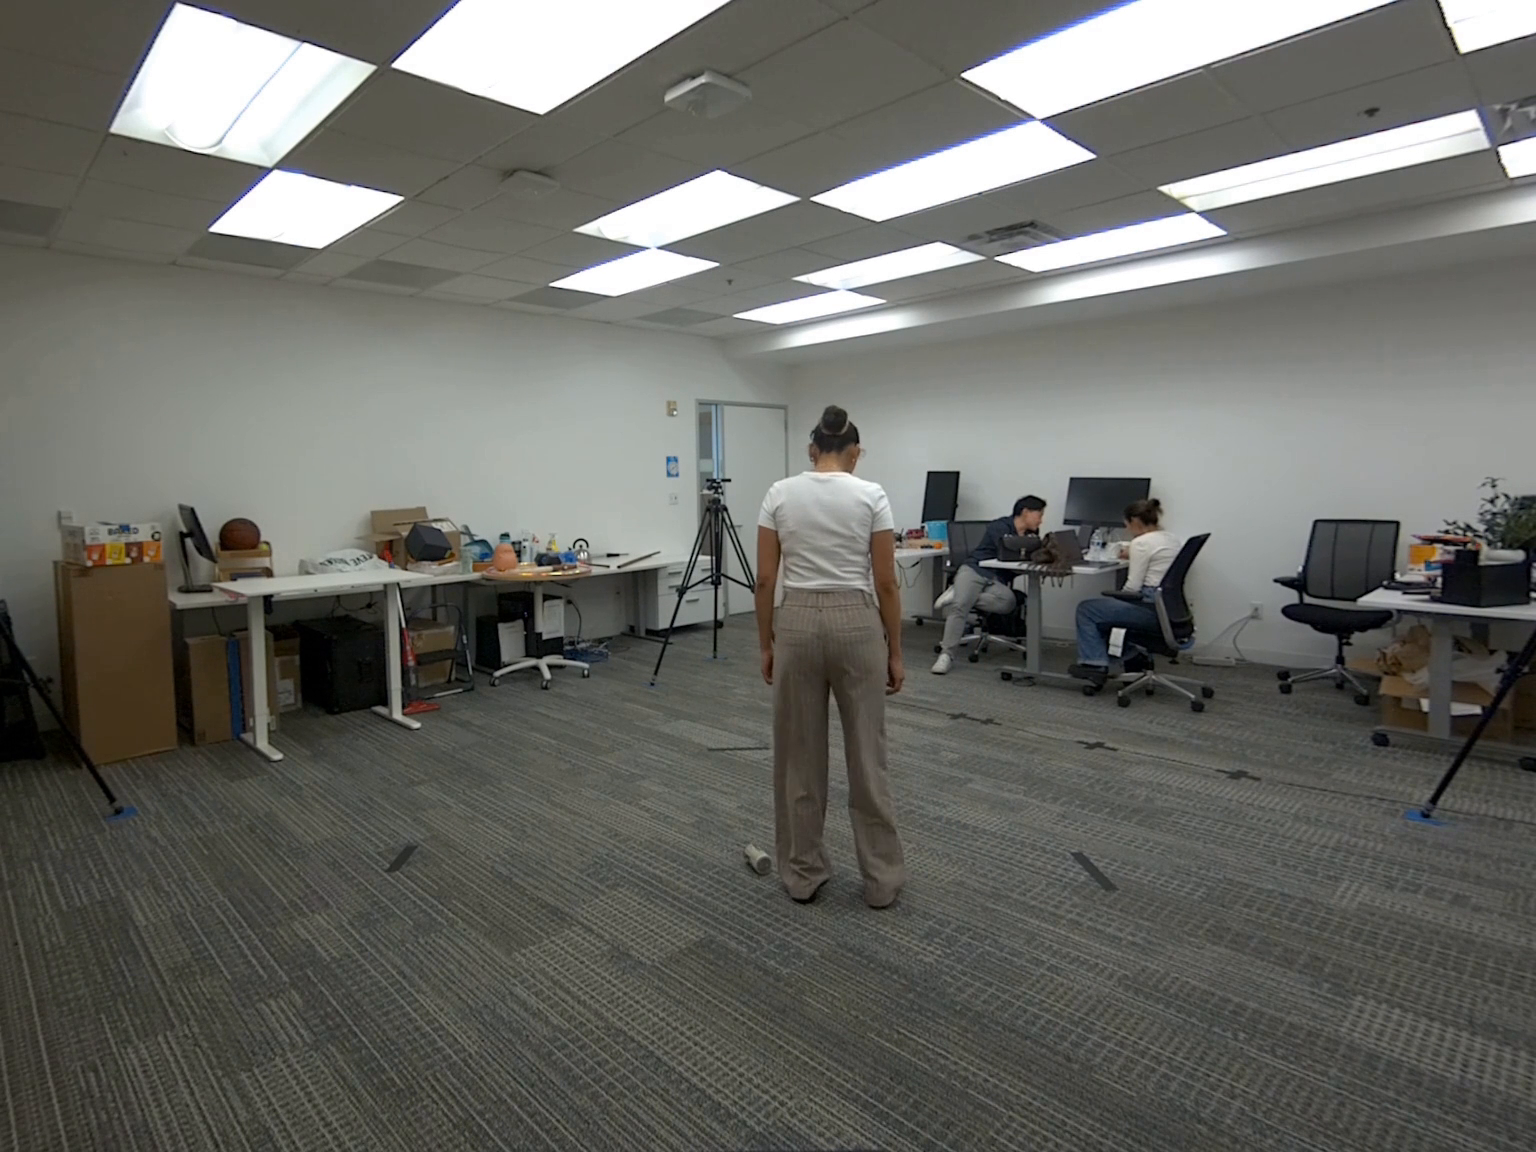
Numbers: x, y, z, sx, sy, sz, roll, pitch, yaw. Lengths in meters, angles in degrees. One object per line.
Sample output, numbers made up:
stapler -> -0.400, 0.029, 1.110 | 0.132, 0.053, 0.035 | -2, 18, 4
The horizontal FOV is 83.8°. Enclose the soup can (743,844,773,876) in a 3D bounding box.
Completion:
soup can -> -0.034, 1.008, 3.067 | 0.066, 0.067, 0.124 | -3, 5, -18
